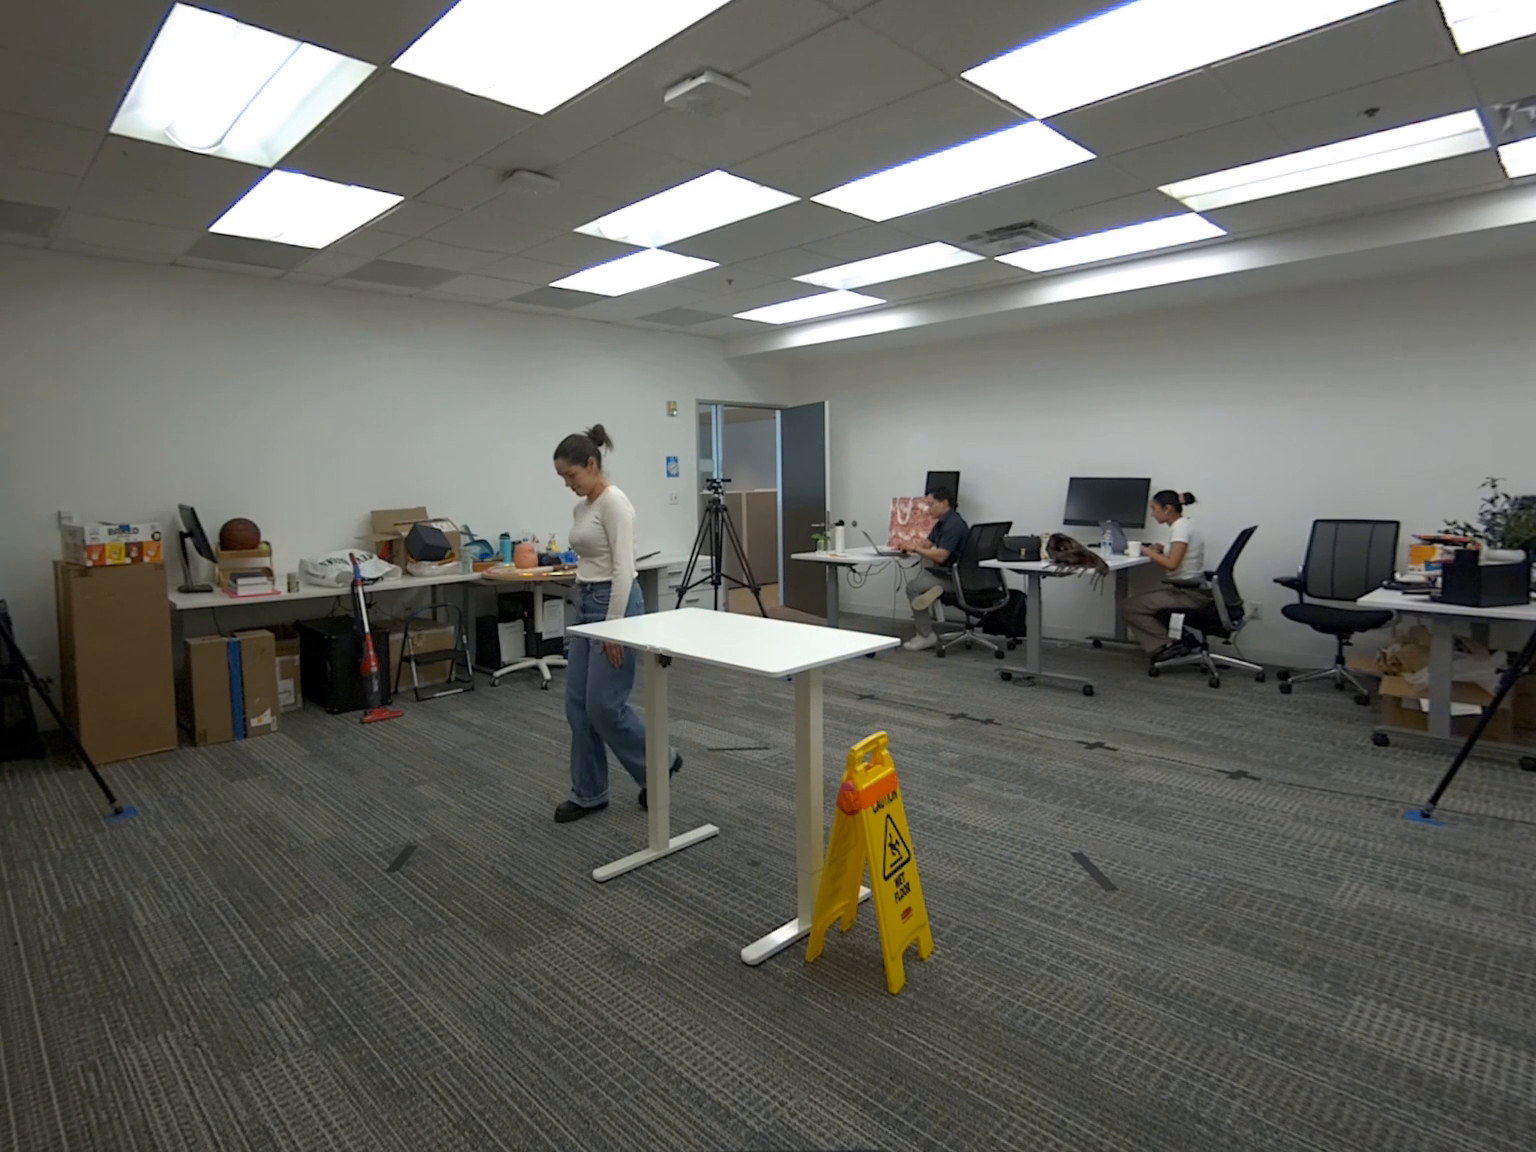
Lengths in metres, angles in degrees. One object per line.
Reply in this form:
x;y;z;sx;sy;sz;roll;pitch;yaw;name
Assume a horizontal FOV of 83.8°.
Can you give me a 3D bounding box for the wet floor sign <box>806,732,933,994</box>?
0.301;0.791;2.466;0.298;0.643;0.275;3;7;36;wet floor sign
